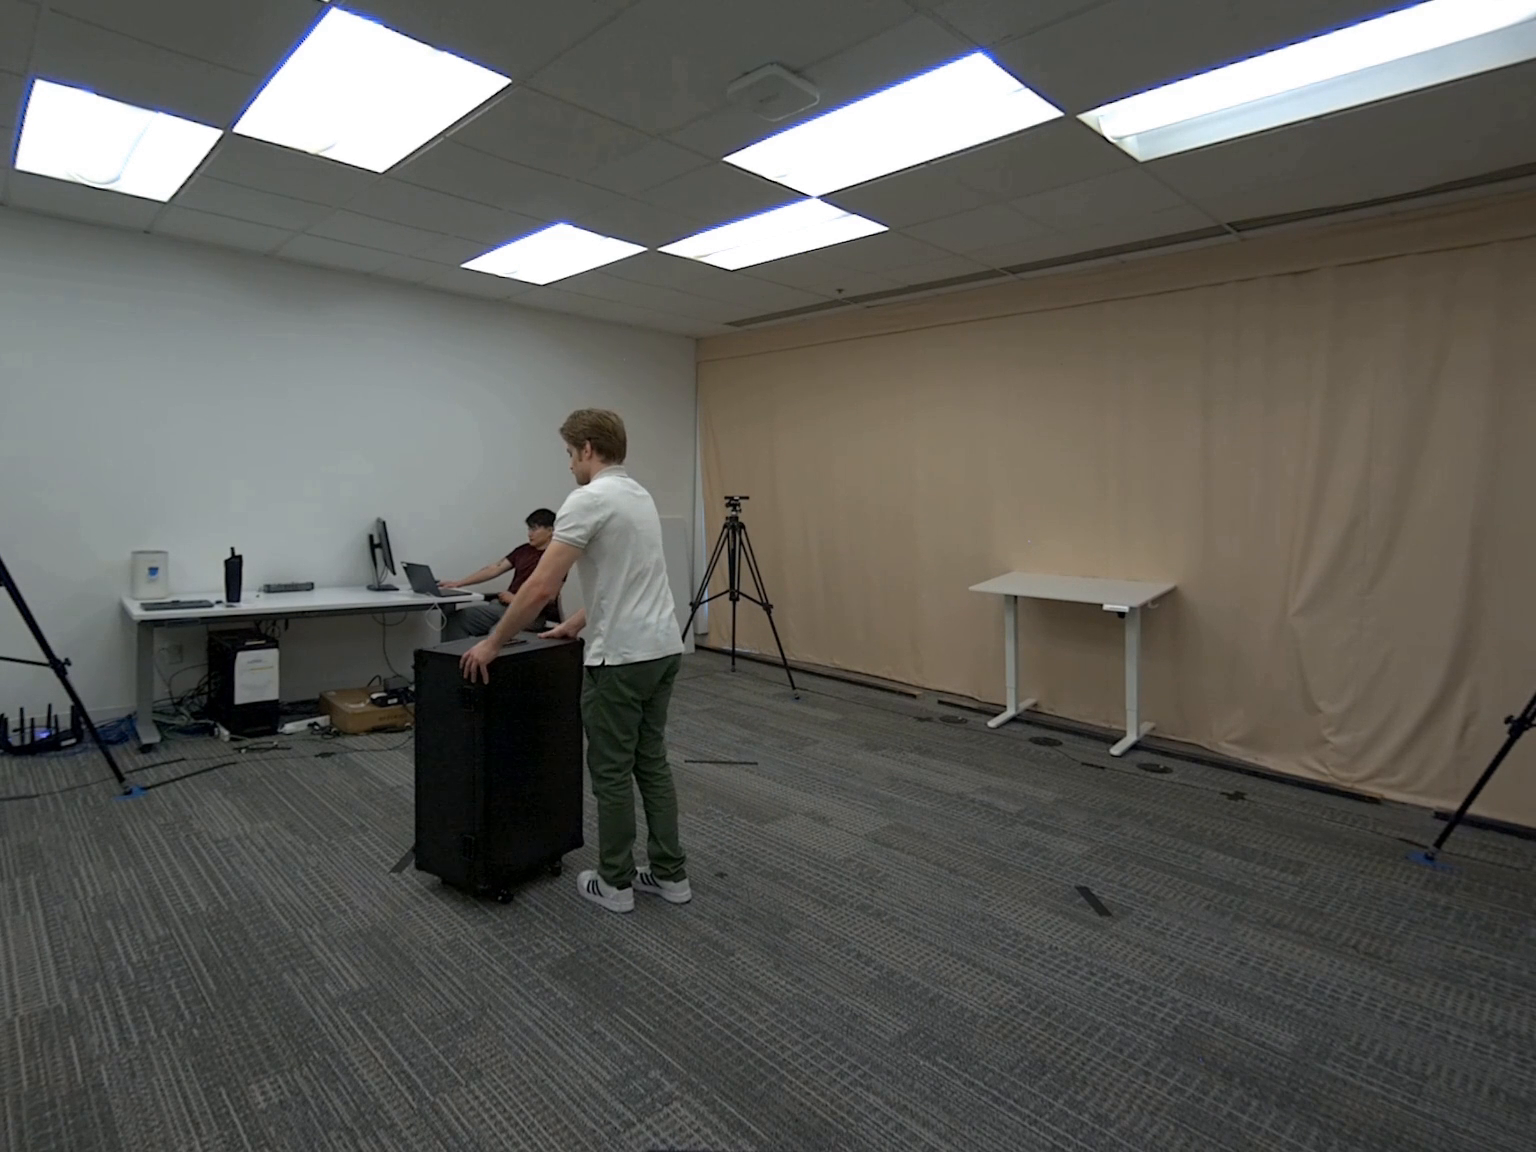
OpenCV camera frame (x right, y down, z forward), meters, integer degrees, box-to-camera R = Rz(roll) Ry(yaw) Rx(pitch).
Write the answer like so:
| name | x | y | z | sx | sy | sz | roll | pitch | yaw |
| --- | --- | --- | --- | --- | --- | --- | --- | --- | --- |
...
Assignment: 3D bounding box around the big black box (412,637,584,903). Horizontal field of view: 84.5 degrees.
| name | x | y | z | sx | sy | sz | roll | pitch | yaw |
| --- | --- | --- | --- | --- | --- | --- | --- | --- | --- |
| big black box | -0.971 | 0.670 | 3.032 | 0.394 | 0.867 | 0.513 | 3 | 4 | 30 |
